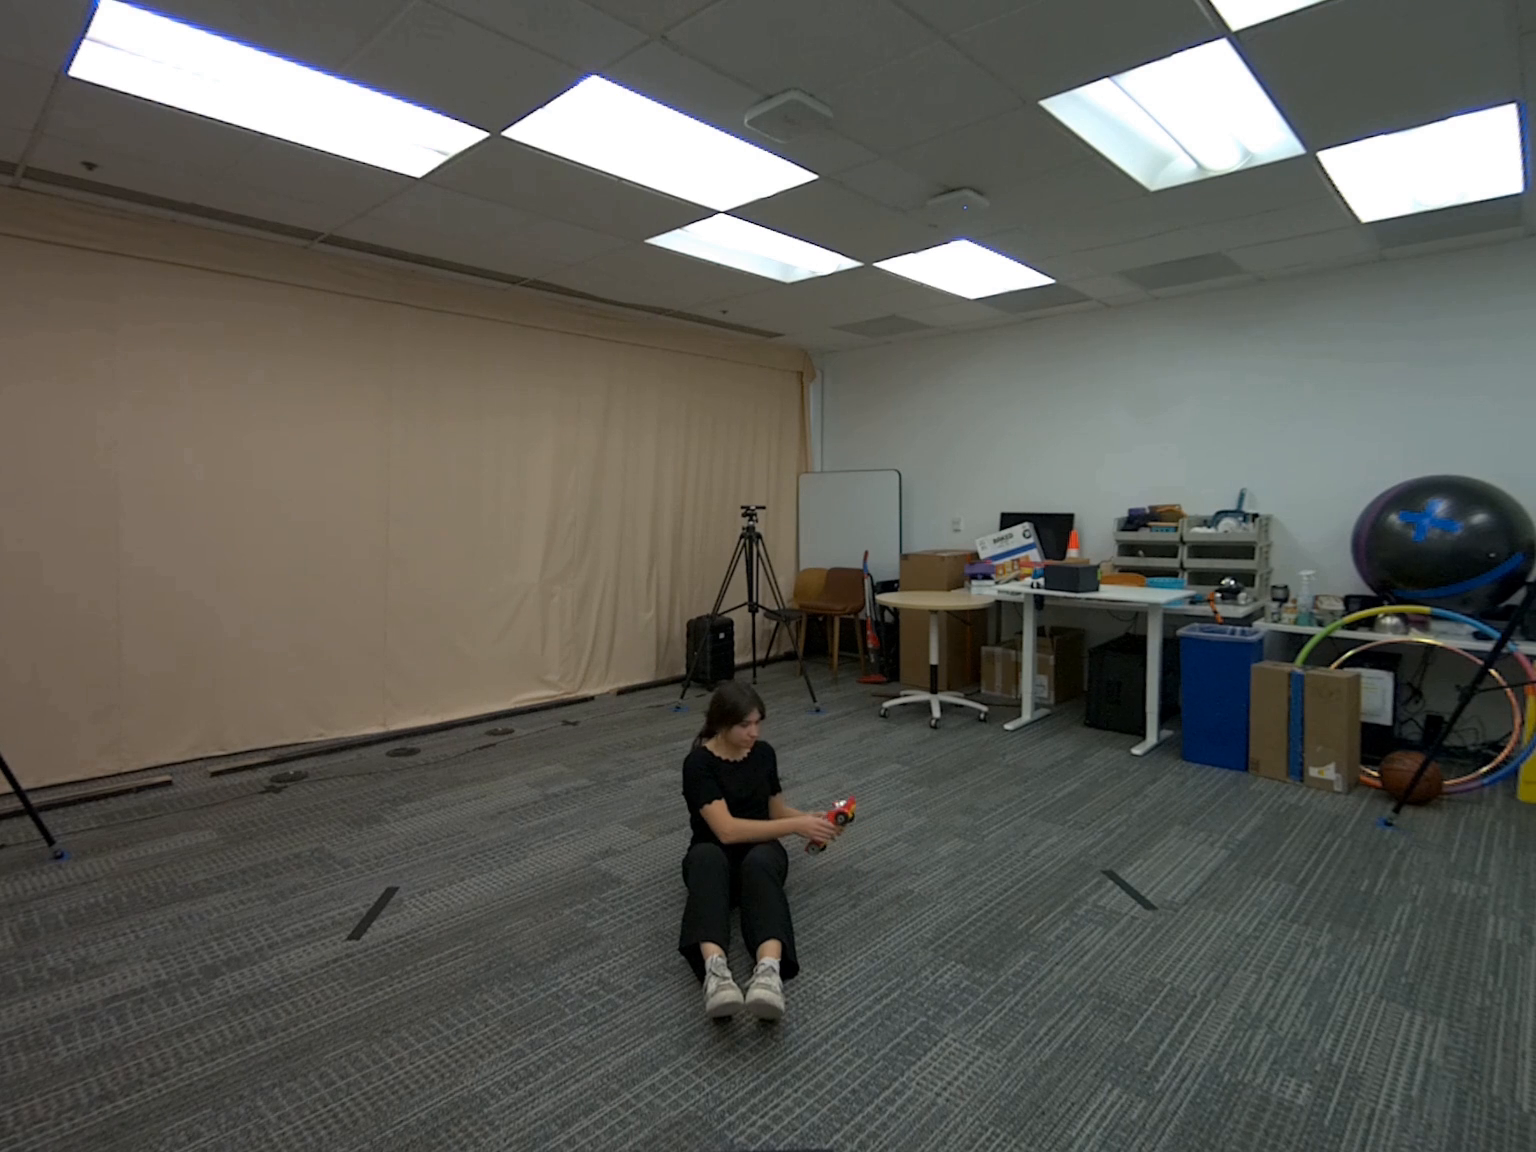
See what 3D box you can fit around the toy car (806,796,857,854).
[{"bbox_3d":[0.215,0.882,2.960,0.085,0.254,0.126,33,4,25],"label":"toy car"}]
